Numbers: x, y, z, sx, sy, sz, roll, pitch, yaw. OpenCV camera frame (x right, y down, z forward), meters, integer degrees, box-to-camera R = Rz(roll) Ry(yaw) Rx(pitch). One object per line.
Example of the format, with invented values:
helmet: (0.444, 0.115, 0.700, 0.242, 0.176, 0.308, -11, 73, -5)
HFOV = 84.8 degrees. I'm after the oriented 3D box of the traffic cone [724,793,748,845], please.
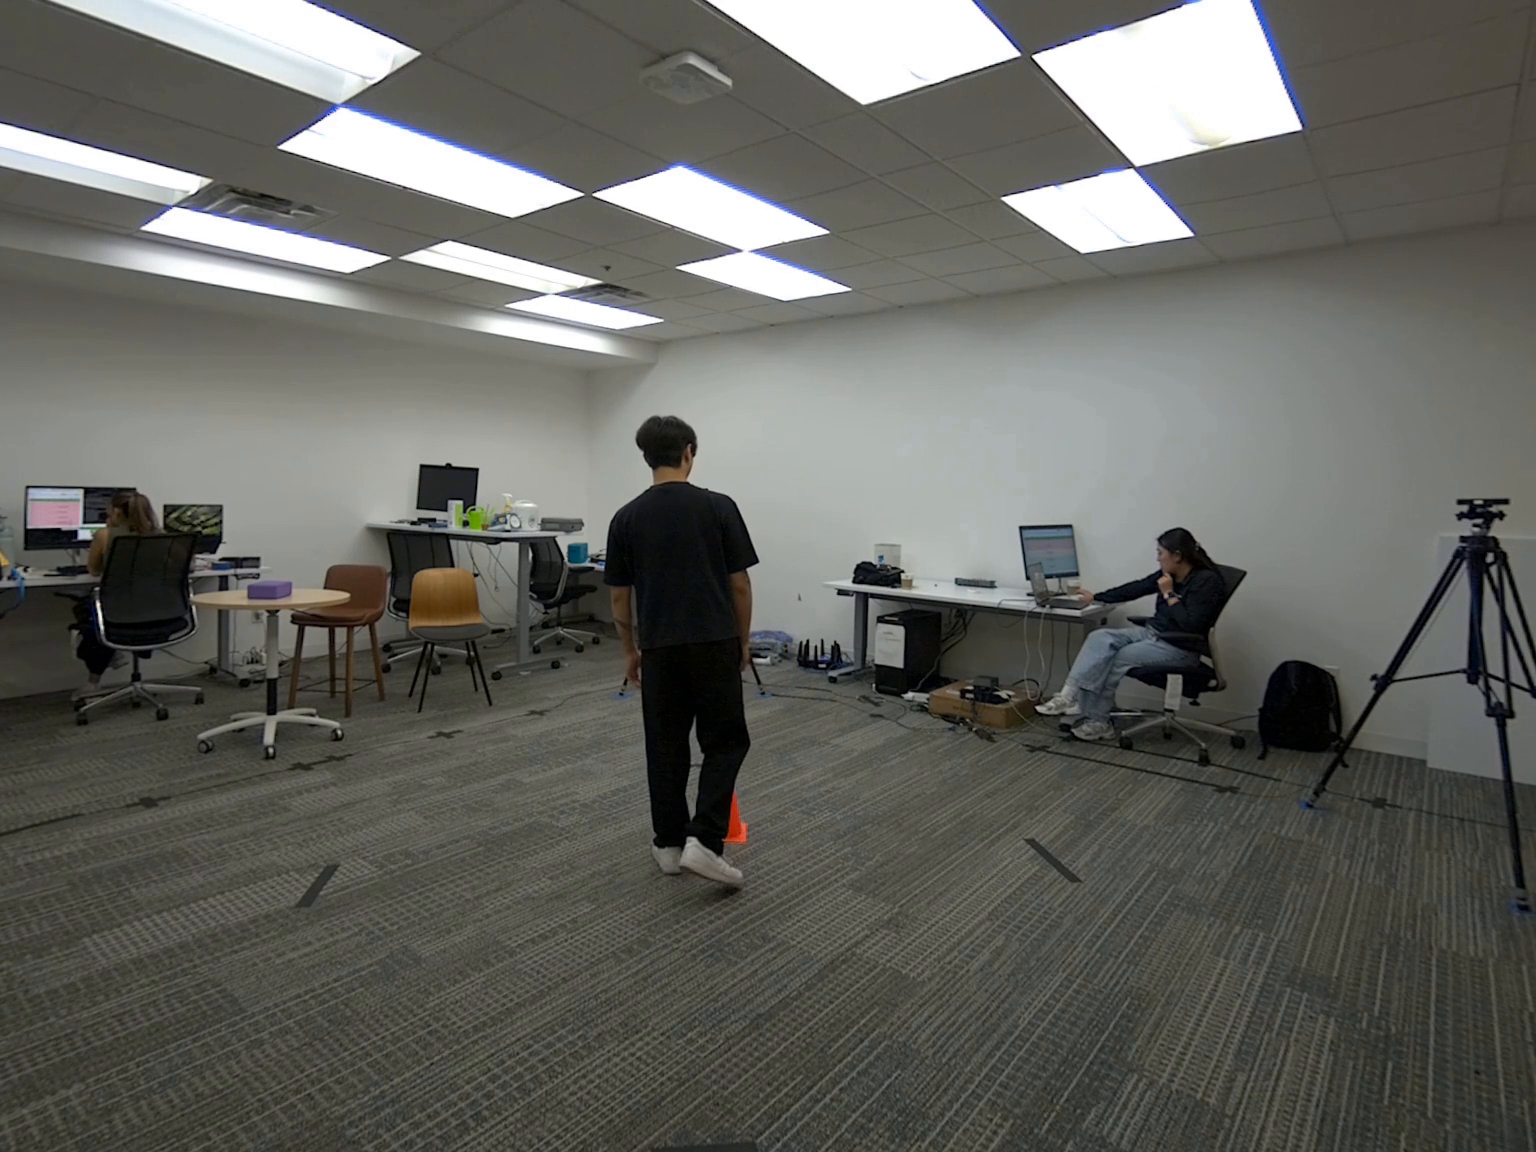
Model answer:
traffic cone: (-0.178, 0.847, 3.438, 0.206, 0.382, 0.203, 3, 4, 3)
